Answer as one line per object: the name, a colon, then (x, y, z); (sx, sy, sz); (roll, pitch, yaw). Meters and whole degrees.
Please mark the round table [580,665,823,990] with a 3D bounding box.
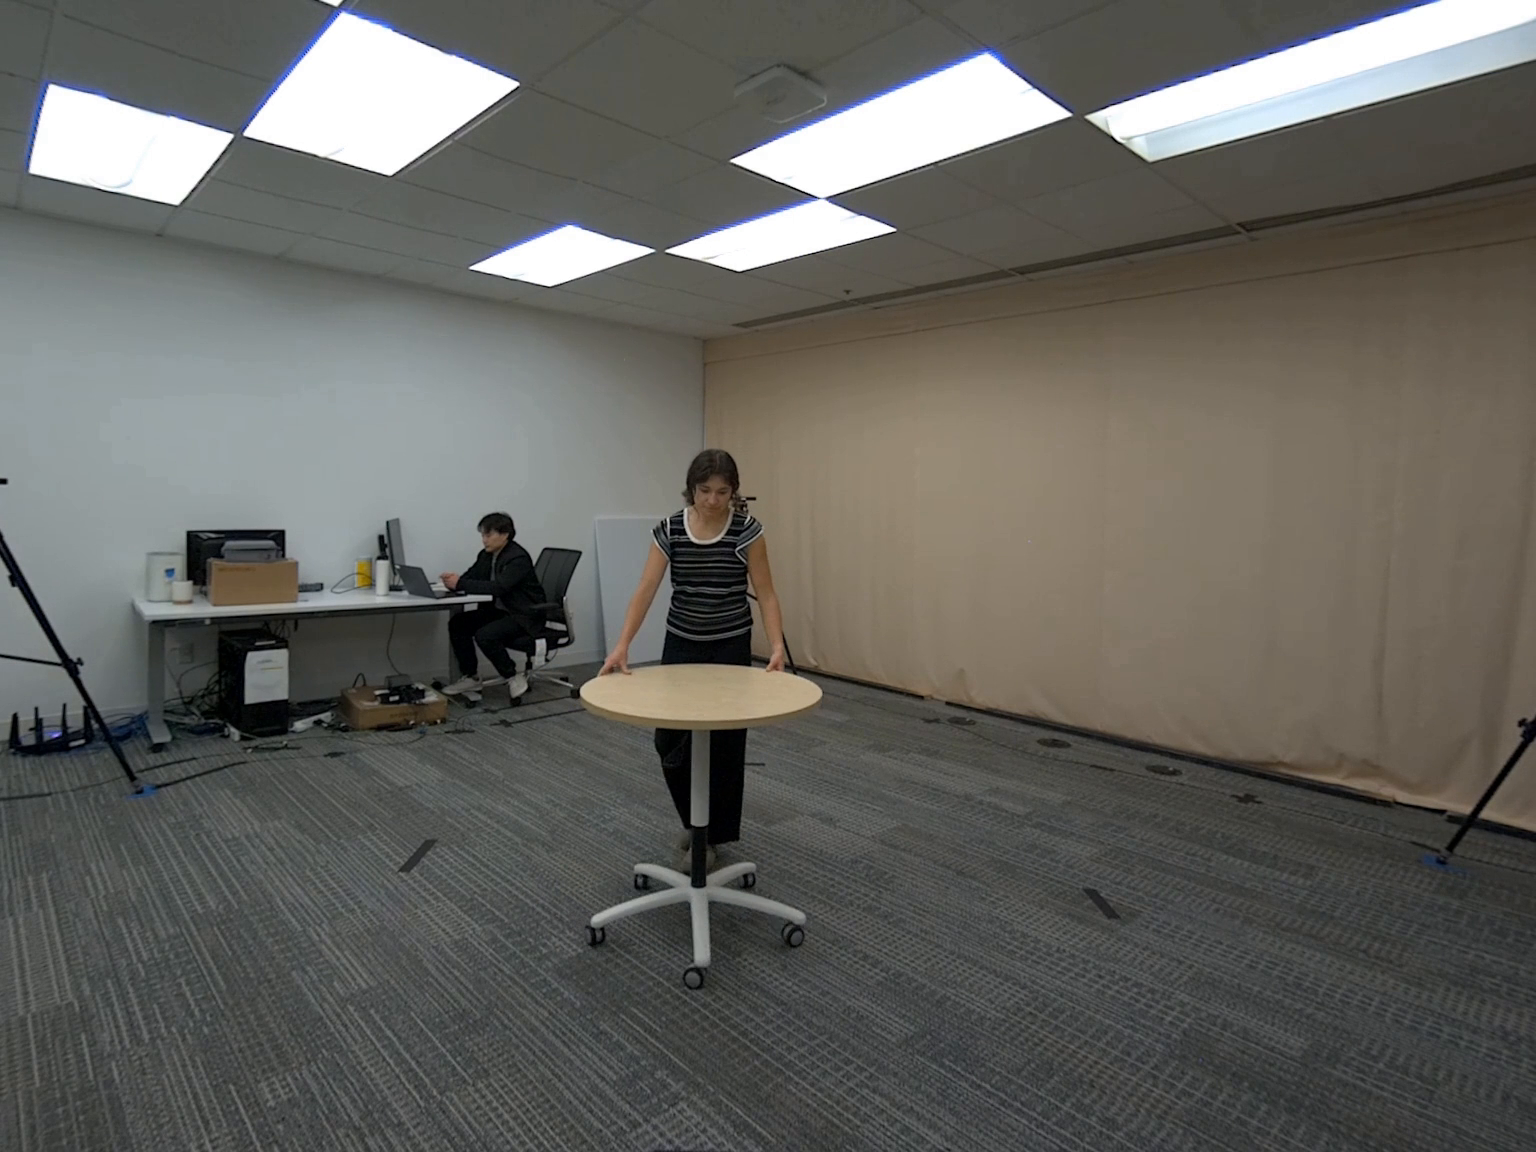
round table: (-0.233, 0.751, 2.690); (0.784, 0.784, 0.787); (1, 4, -1)
